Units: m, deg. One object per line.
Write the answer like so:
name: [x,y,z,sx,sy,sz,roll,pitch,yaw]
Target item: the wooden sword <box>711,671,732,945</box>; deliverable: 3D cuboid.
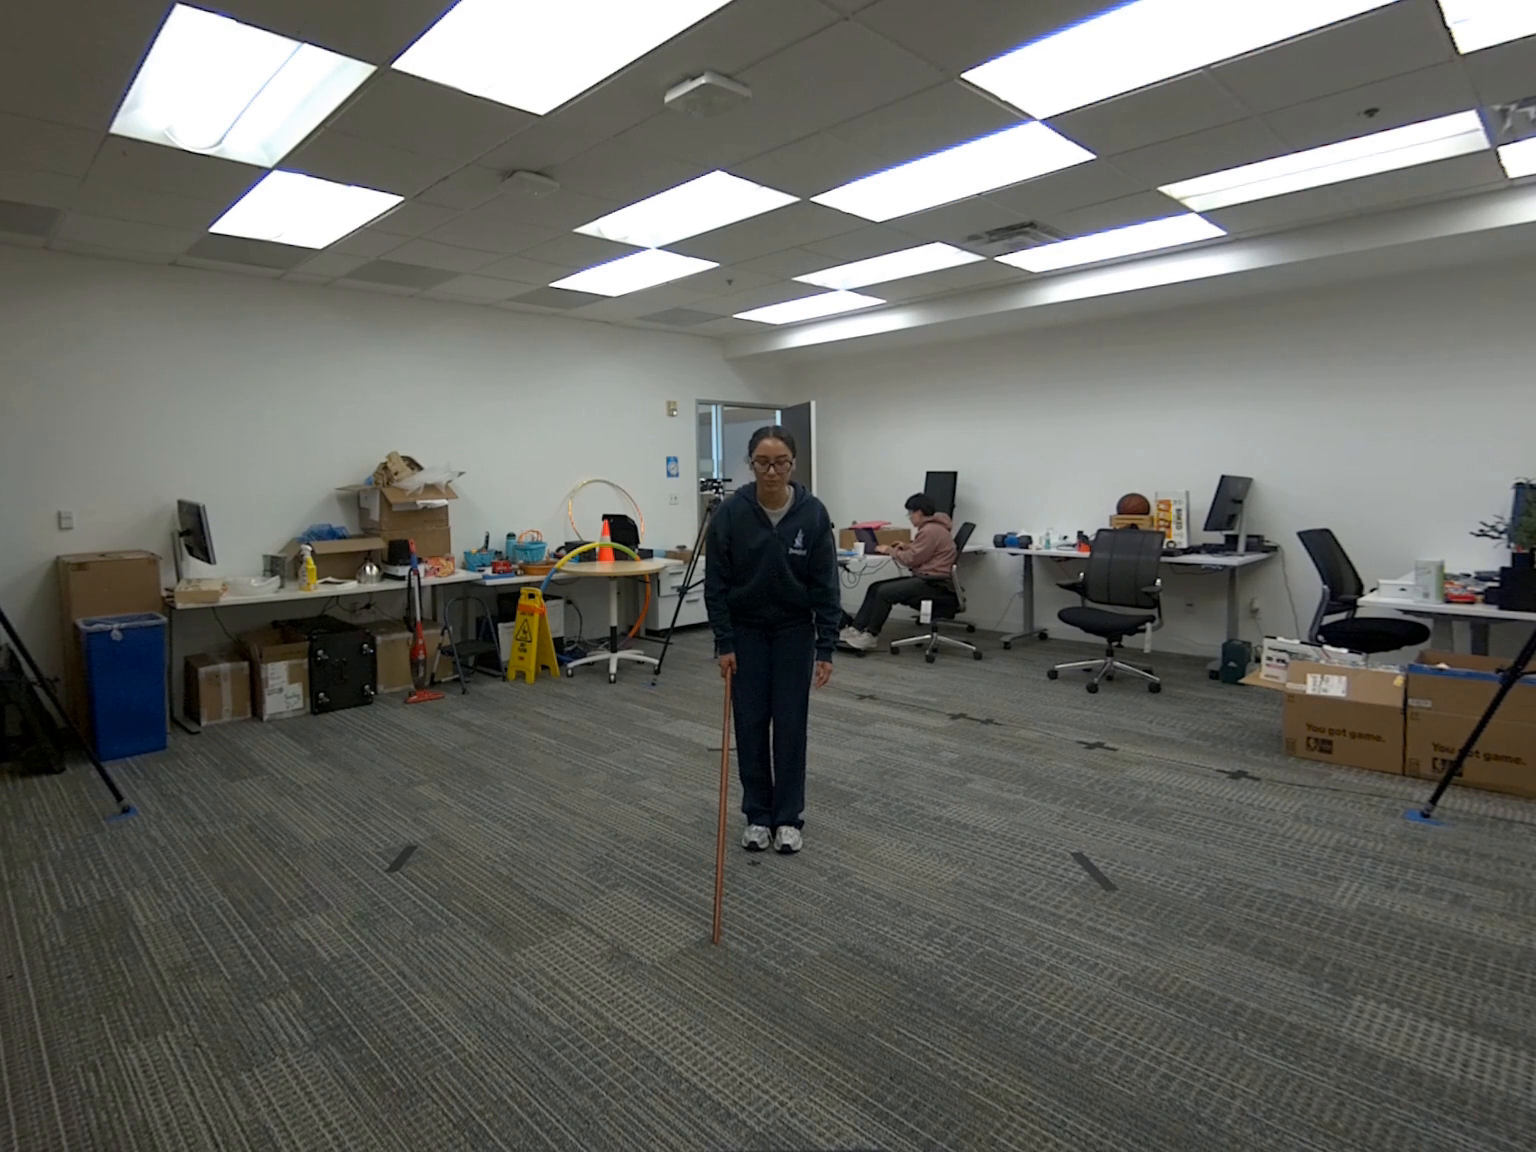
wooden sword: [-0.146,0.715,2.915,0.024,1.051,0.050,8,-41,-9]
